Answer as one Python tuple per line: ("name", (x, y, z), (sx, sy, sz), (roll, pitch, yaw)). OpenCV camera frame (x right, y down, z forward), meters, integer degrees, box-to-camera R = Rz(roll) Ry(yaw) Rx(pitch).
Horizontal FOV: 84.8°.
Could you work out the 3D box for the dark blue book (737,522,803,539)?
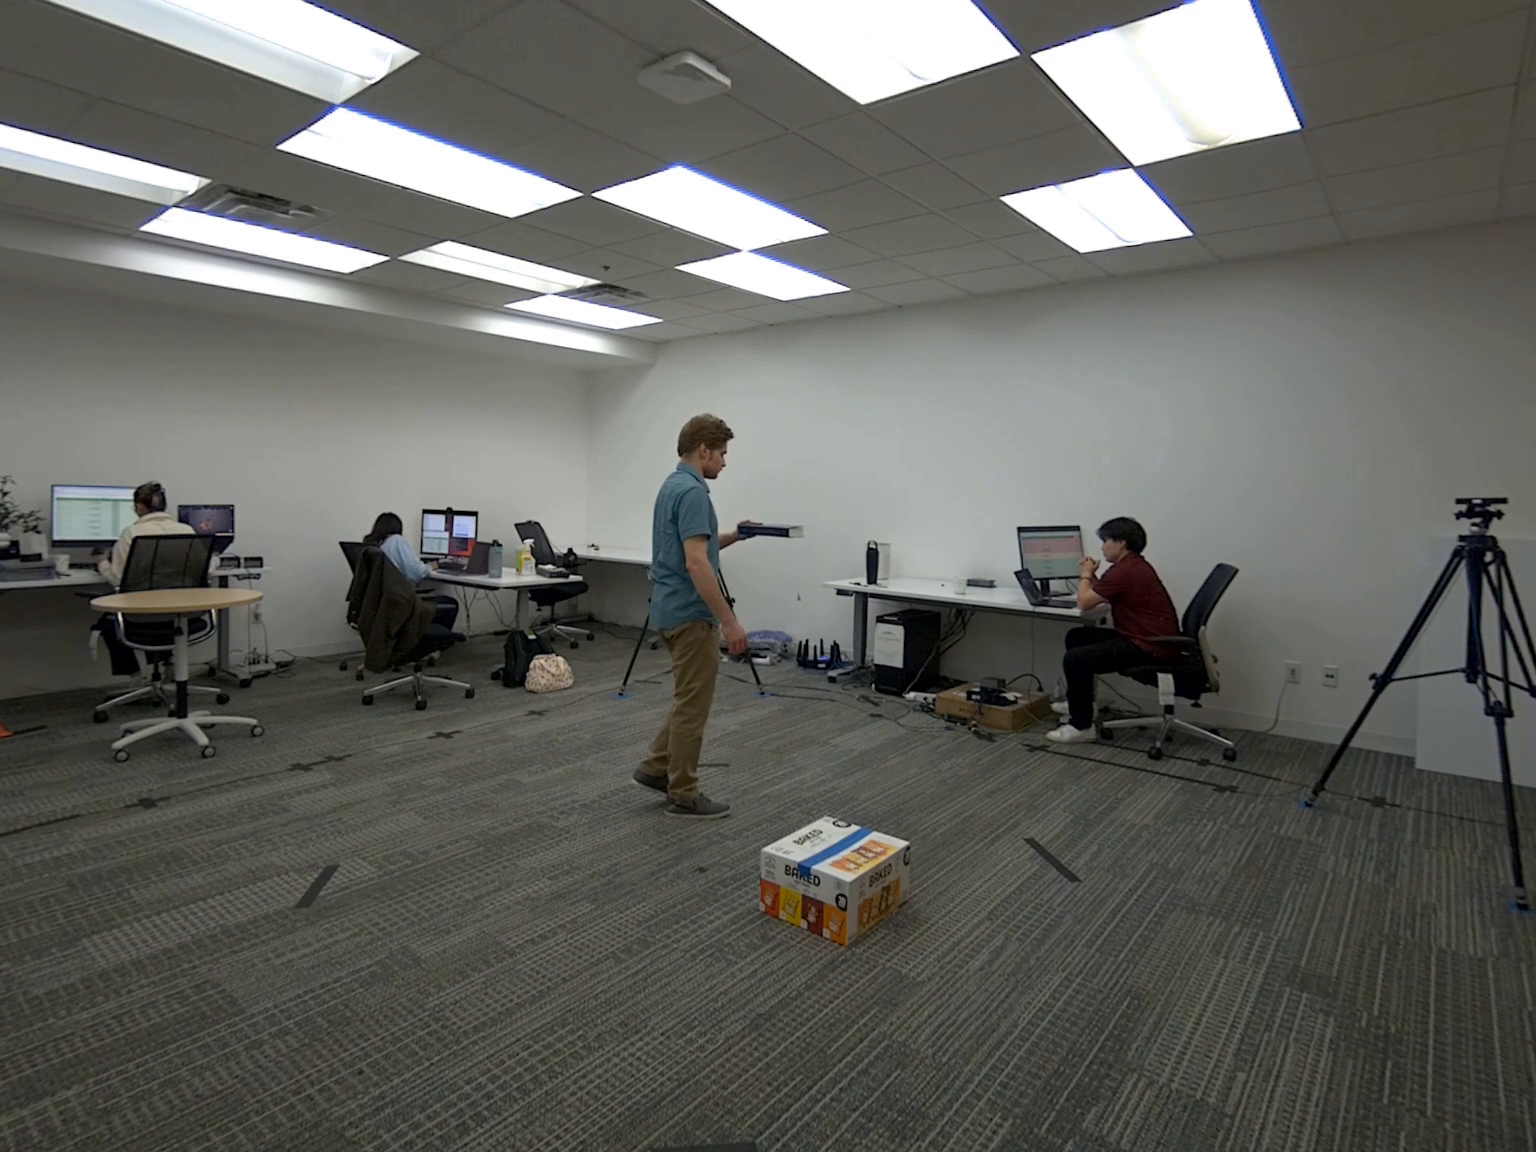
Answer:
("dark blue book", (0.007, -0.201, 3.710), (0.252, 0.045, 0.160), (5, 7, 26))
